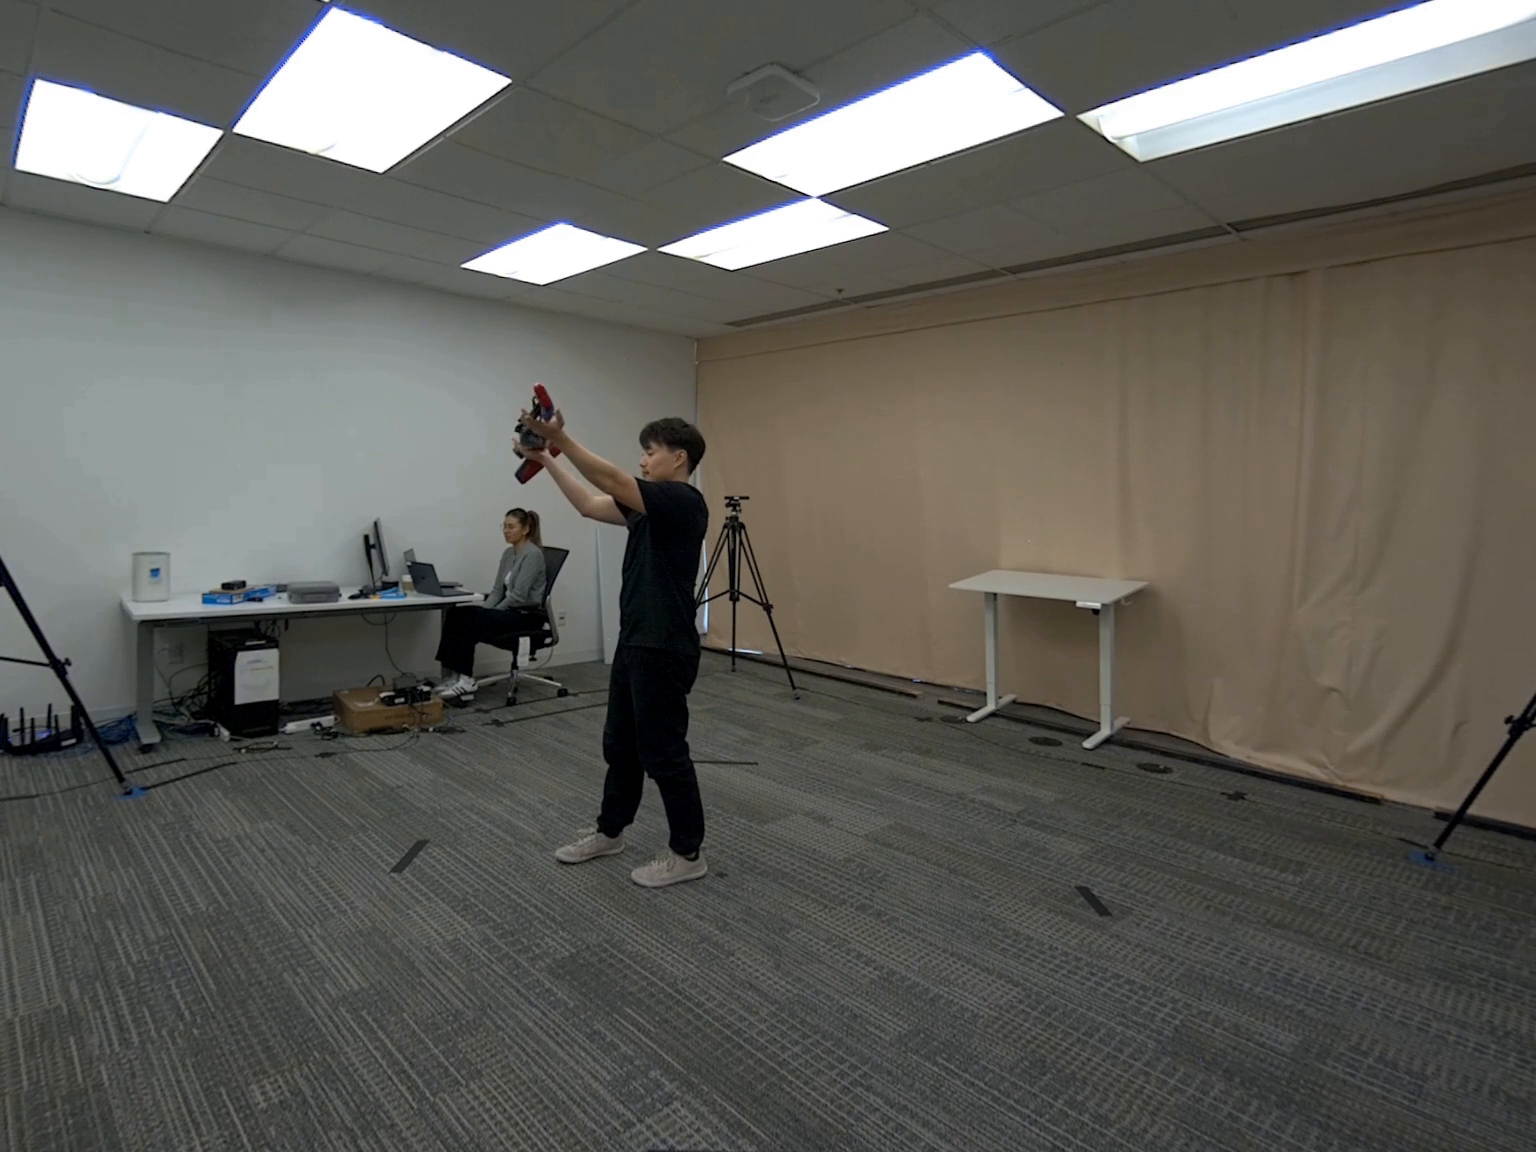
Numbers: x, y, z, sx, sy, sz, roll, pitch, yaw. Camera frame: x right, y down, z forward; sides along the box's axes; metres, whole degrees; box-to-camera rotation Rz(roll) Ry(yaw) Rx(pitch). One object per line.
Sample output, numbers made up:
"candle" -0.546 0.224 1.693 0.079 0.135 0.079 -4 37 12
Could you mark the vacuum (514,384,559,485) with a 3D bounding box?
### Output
"vacuum" -0.791 -0.512 2.855 0.252 0.143 1.057 -44 8 -13
